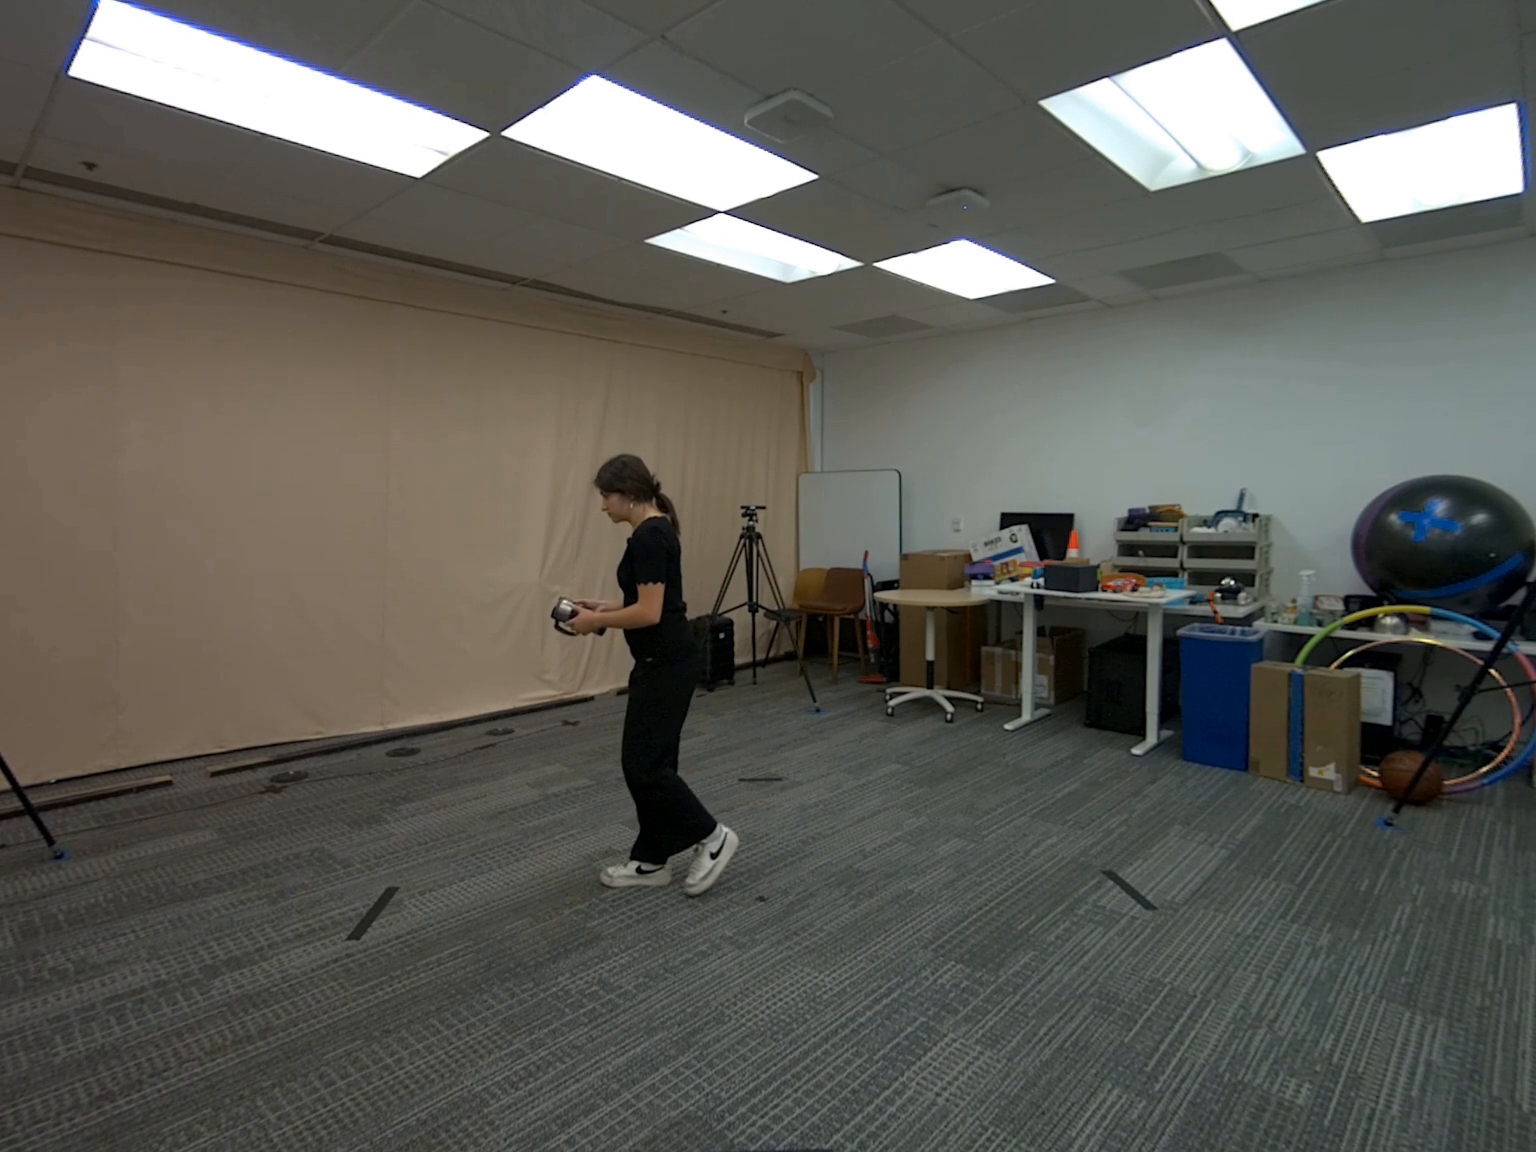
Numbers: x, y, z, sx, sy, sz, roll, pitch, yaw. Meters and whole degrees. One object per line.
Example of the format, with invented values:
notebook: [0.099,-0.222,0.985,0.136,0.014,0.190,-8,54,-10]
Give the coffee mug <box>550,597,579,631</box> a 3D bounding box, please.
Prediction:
coffee mug: [-0.686,0.171,3.113,0.201,0.122,0.088,17,4,-6]
